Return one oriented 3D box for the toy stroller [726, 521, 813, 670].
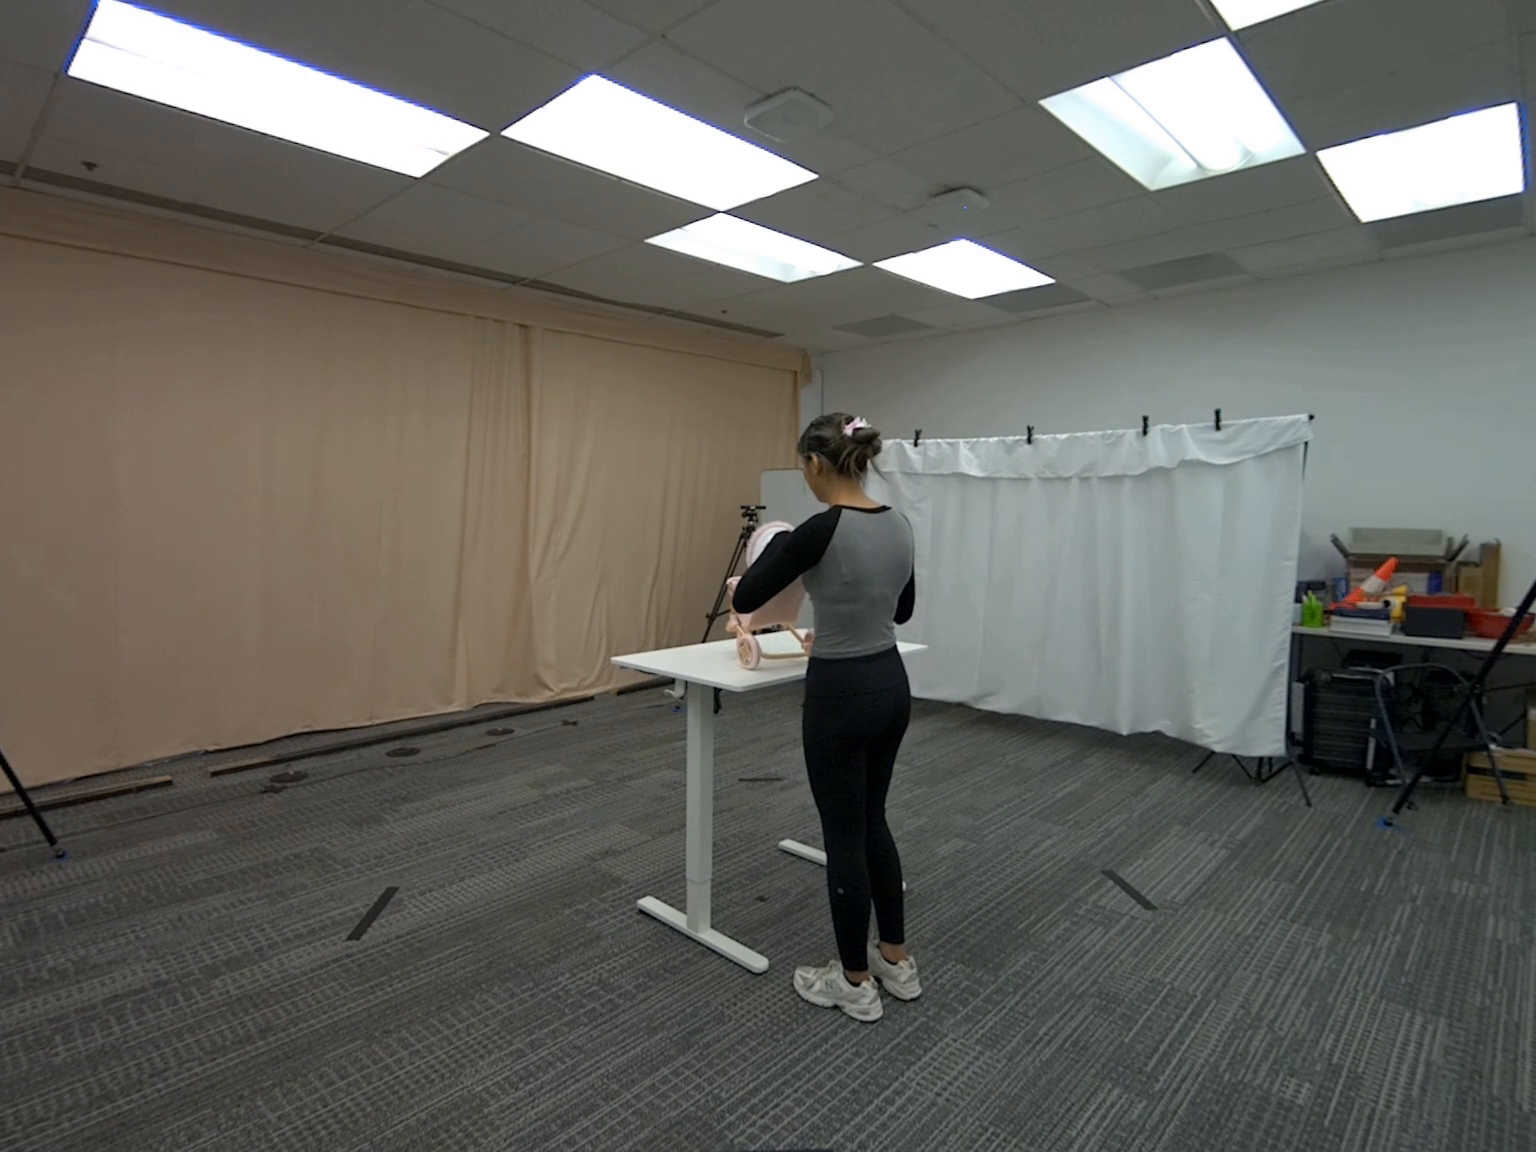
[{"bbox_3d":[0.014,0.061,2.716,0.274,0.530,0.353,-1,20,-27],"label":"toy stroller"}]
